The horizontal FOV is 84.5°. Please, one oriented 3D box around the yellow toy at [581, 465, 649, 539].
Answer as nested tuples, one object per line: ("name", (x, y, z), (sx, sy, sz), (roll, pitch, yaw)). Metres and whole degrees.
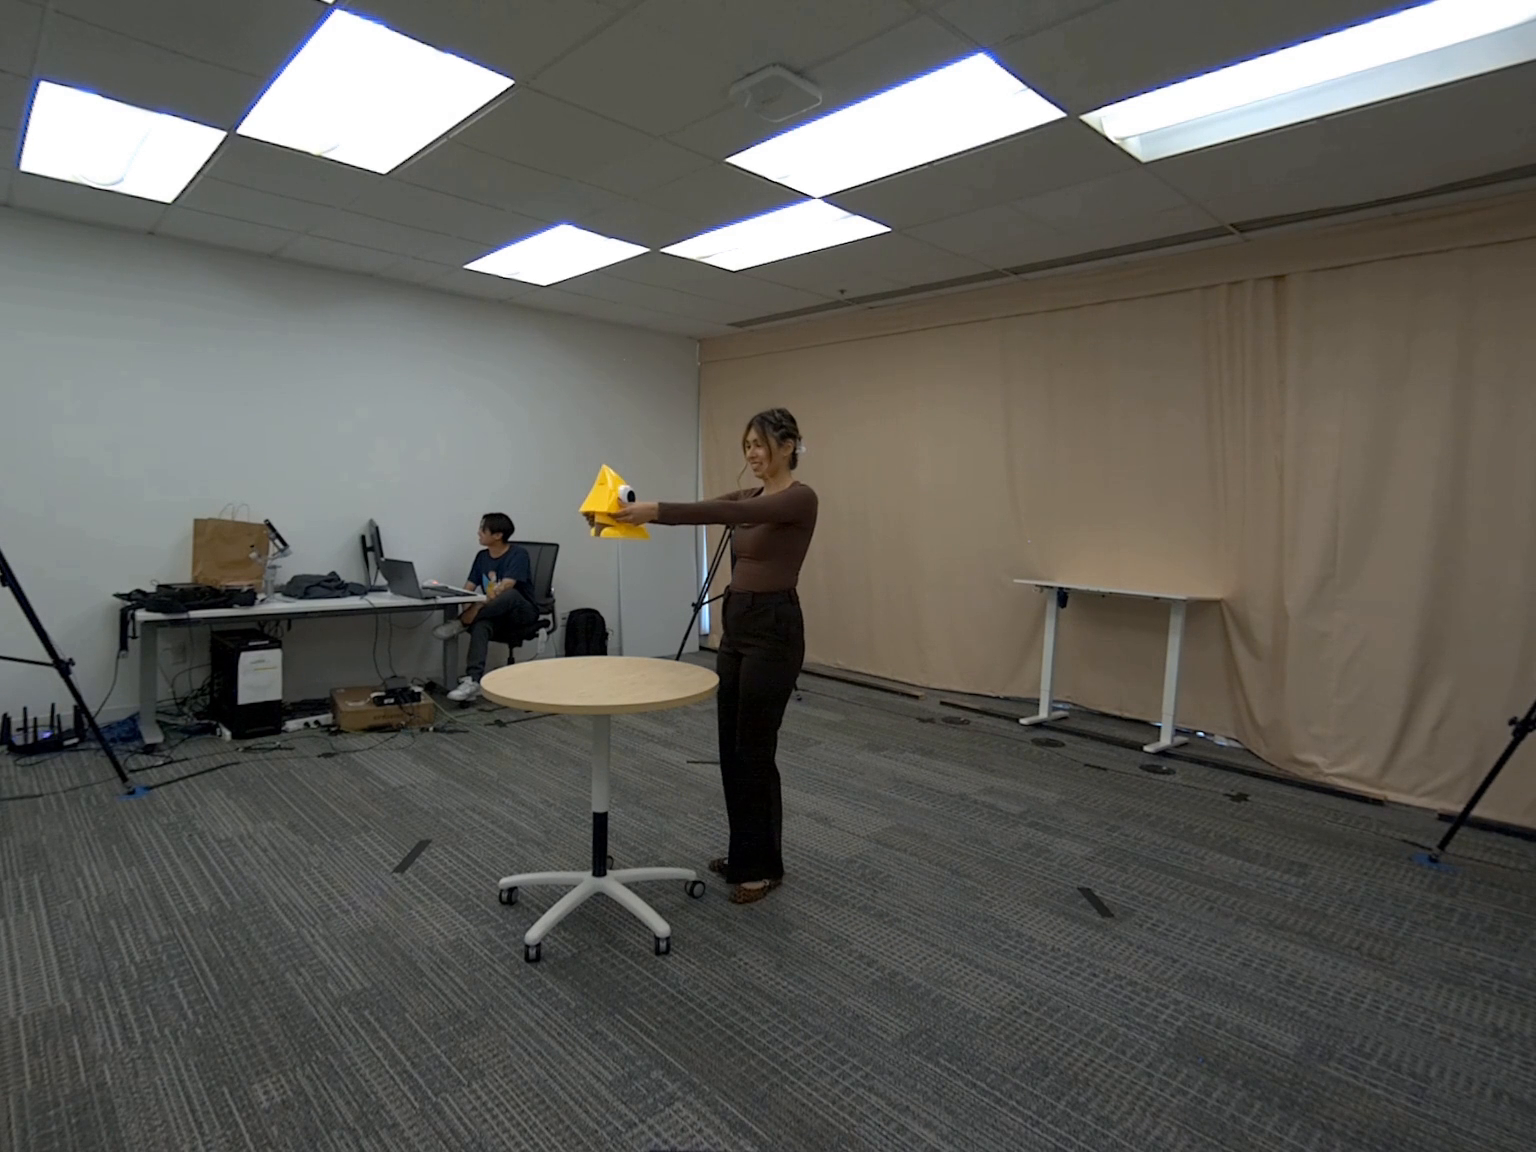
("yellow toy", (-0.489, -0.237, 2.705), (0.189, 0.230, 0.209), (3, 1, -34))
